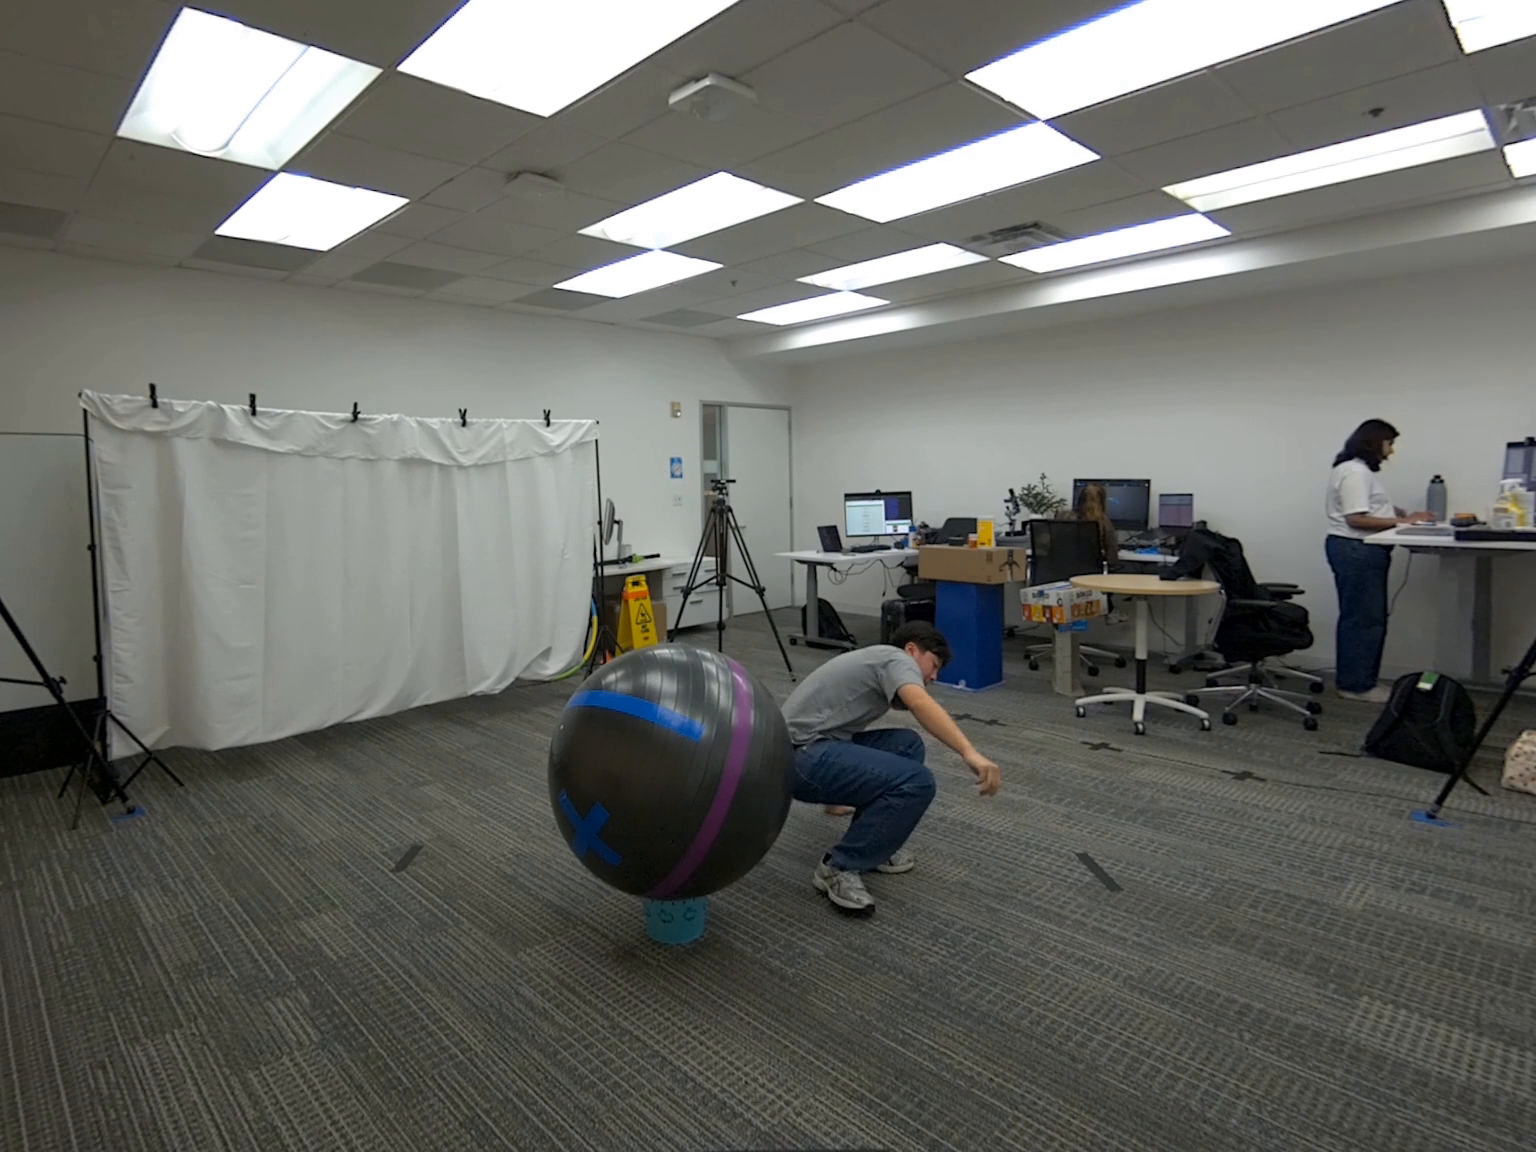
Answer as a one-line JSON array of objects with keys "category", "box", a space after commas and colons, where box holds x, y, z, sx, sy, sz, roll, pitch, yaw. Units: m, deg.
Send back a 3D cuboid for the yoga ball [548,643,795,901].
[{"category": "yoga ball", "box": [-0.291, 0.594, 2.634, 0.757, 0.755, 0.762, -1, 5, -2]}]
